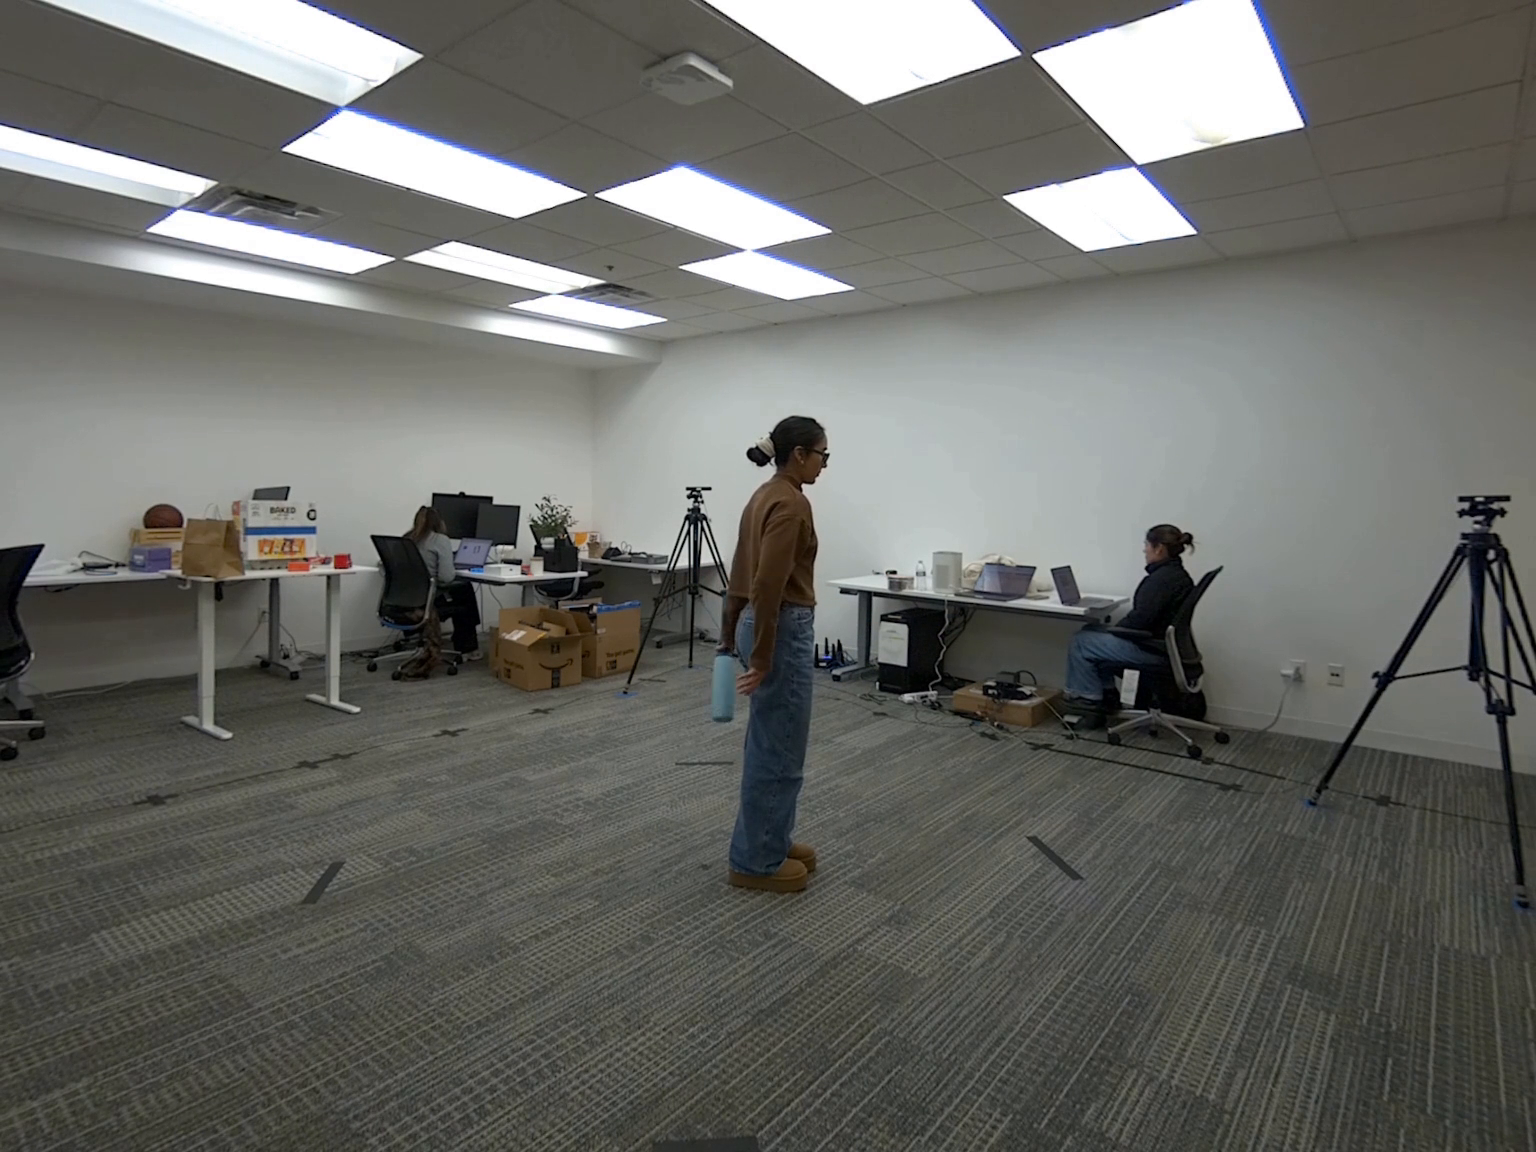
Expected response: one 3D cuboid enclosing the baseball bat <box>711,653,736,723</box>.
[{"bbox_3d":[-0.155,0.289,3.346,0.089,0.553,0.087,2,-22,-1],"label":"baseball bat"}]
